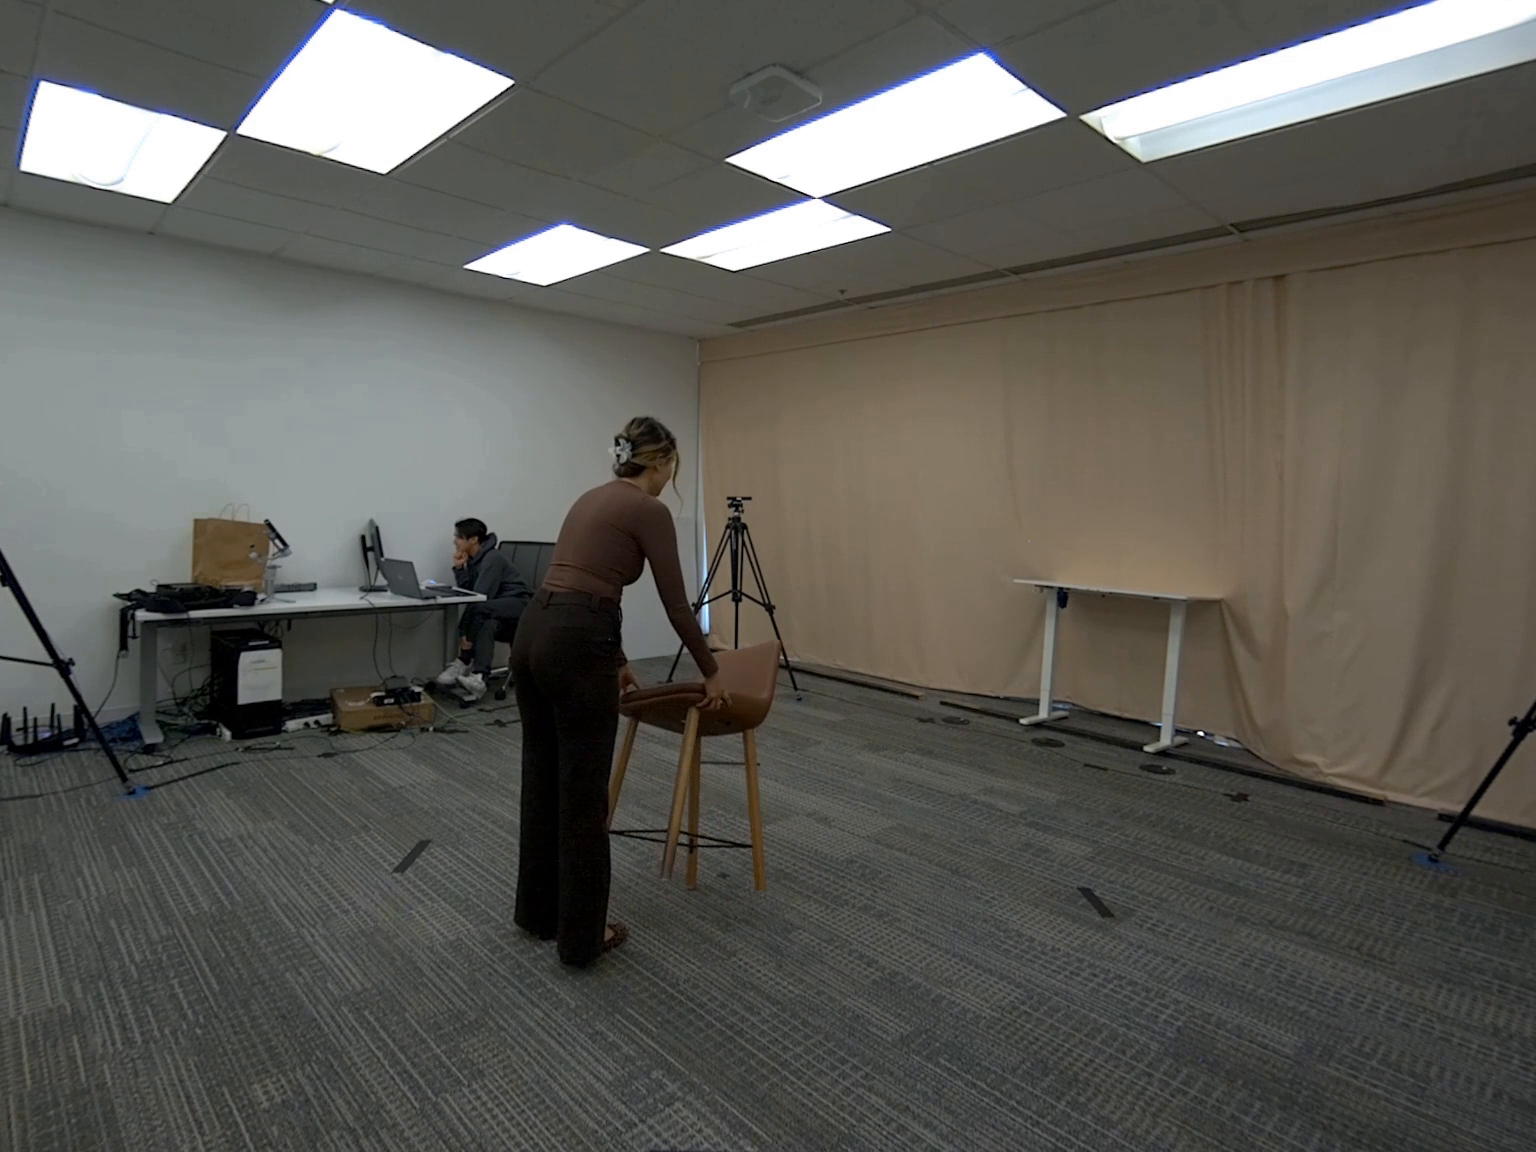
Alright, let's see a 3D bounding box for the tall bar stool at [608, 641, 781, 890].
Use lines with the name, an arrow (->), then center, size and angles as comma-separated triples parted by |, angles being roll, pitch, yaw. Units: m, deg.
tall bar stool -> -0.263, 0.610, 2.923 | 0.454, 0.903, 0.463 | 26, -31, -38
